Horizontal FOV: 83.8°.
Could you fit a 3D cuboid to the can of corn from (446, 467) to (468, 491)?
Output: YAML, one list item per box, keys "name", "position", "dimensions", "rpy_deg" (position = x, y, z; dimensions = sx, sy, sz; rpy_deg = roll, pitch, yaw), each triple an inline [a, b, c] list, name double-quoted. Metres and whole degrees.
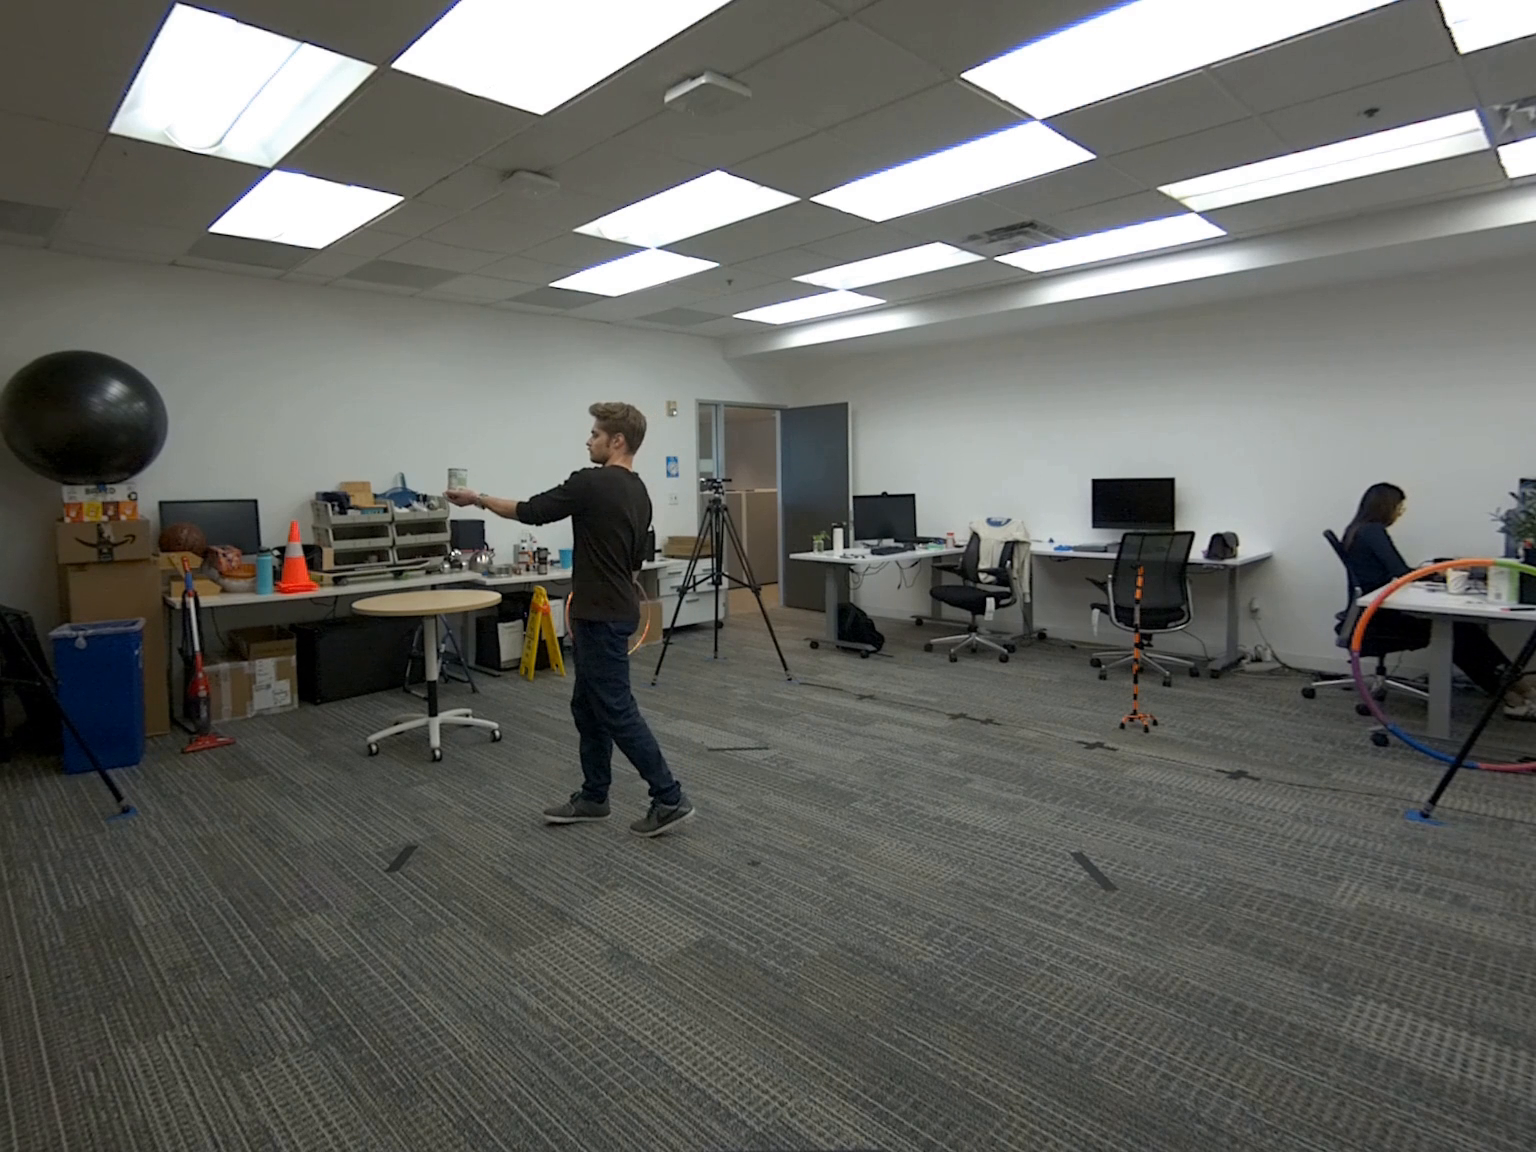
- name: "can of corn"
  position: [-1.268, -0.384, 3.489]
  dimensions: [0.074, 0.111, 0.074]
  rpy_deg: [3, -2, -2]
